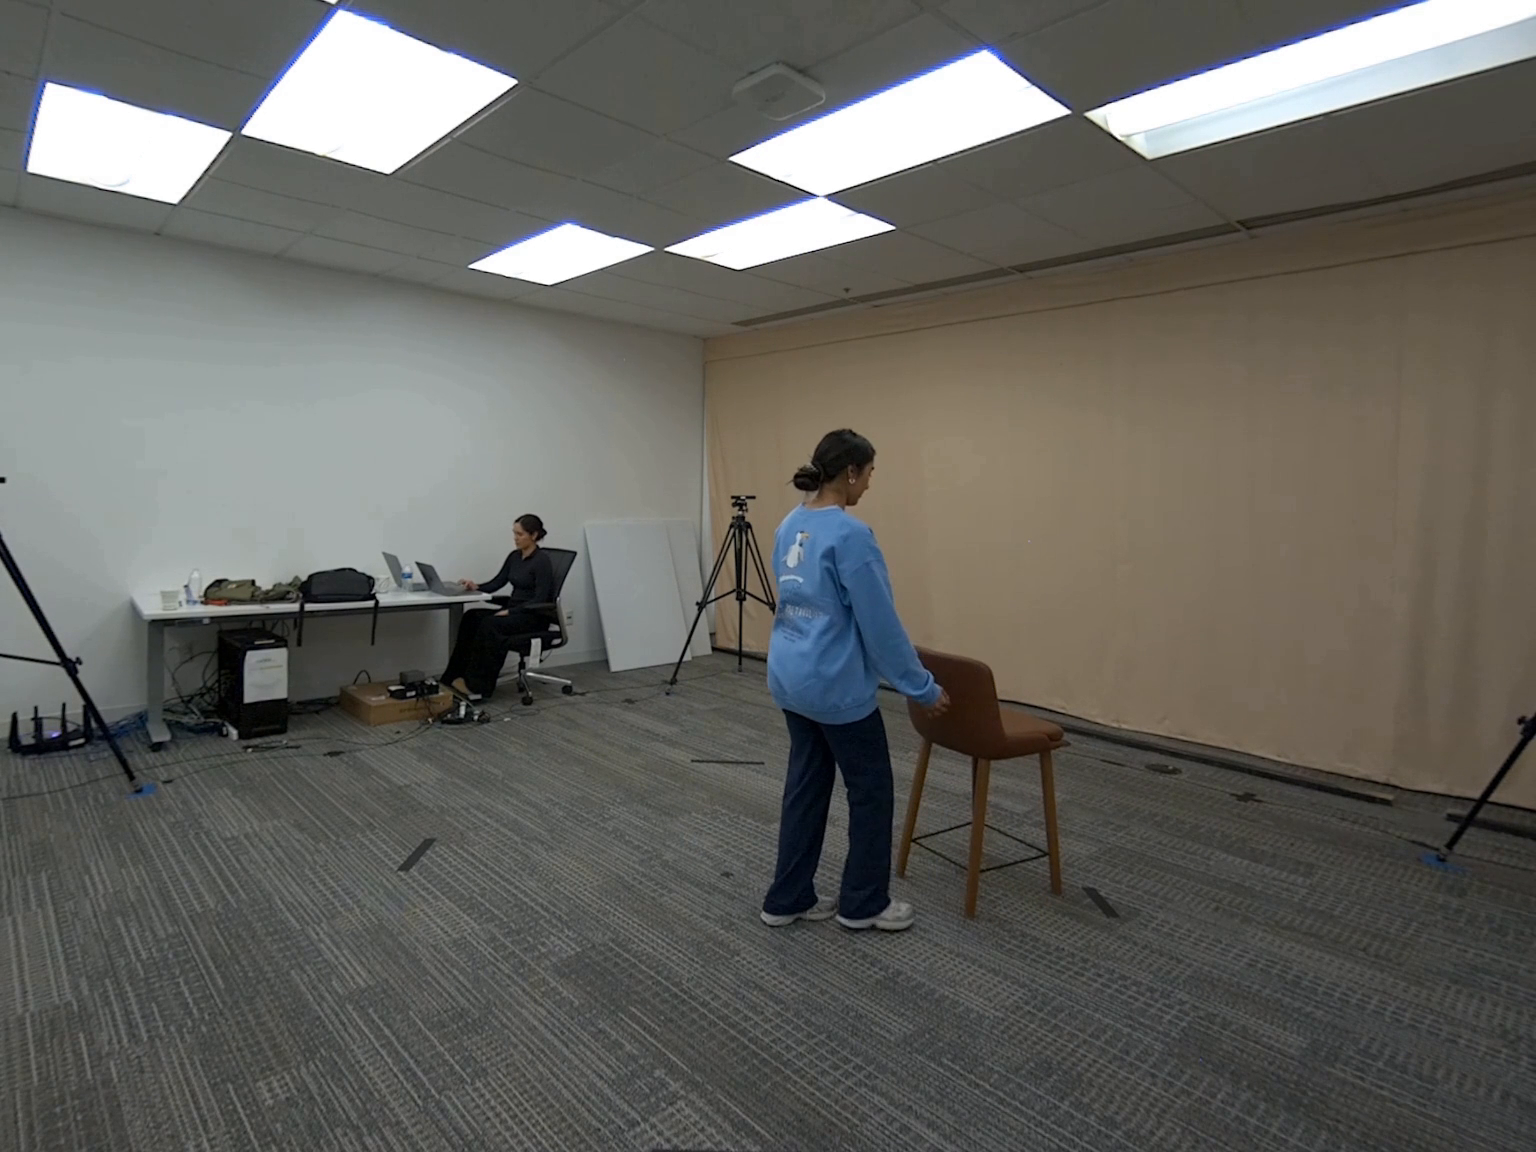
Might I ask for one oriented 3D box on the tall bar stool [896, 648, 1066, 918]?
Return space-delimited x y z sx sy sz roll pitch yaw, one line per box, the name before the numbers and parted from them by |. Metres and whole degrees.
tall bar stool | 0.757 0.687 3.059 0.458 0.887 0.467 -3 5 -31
